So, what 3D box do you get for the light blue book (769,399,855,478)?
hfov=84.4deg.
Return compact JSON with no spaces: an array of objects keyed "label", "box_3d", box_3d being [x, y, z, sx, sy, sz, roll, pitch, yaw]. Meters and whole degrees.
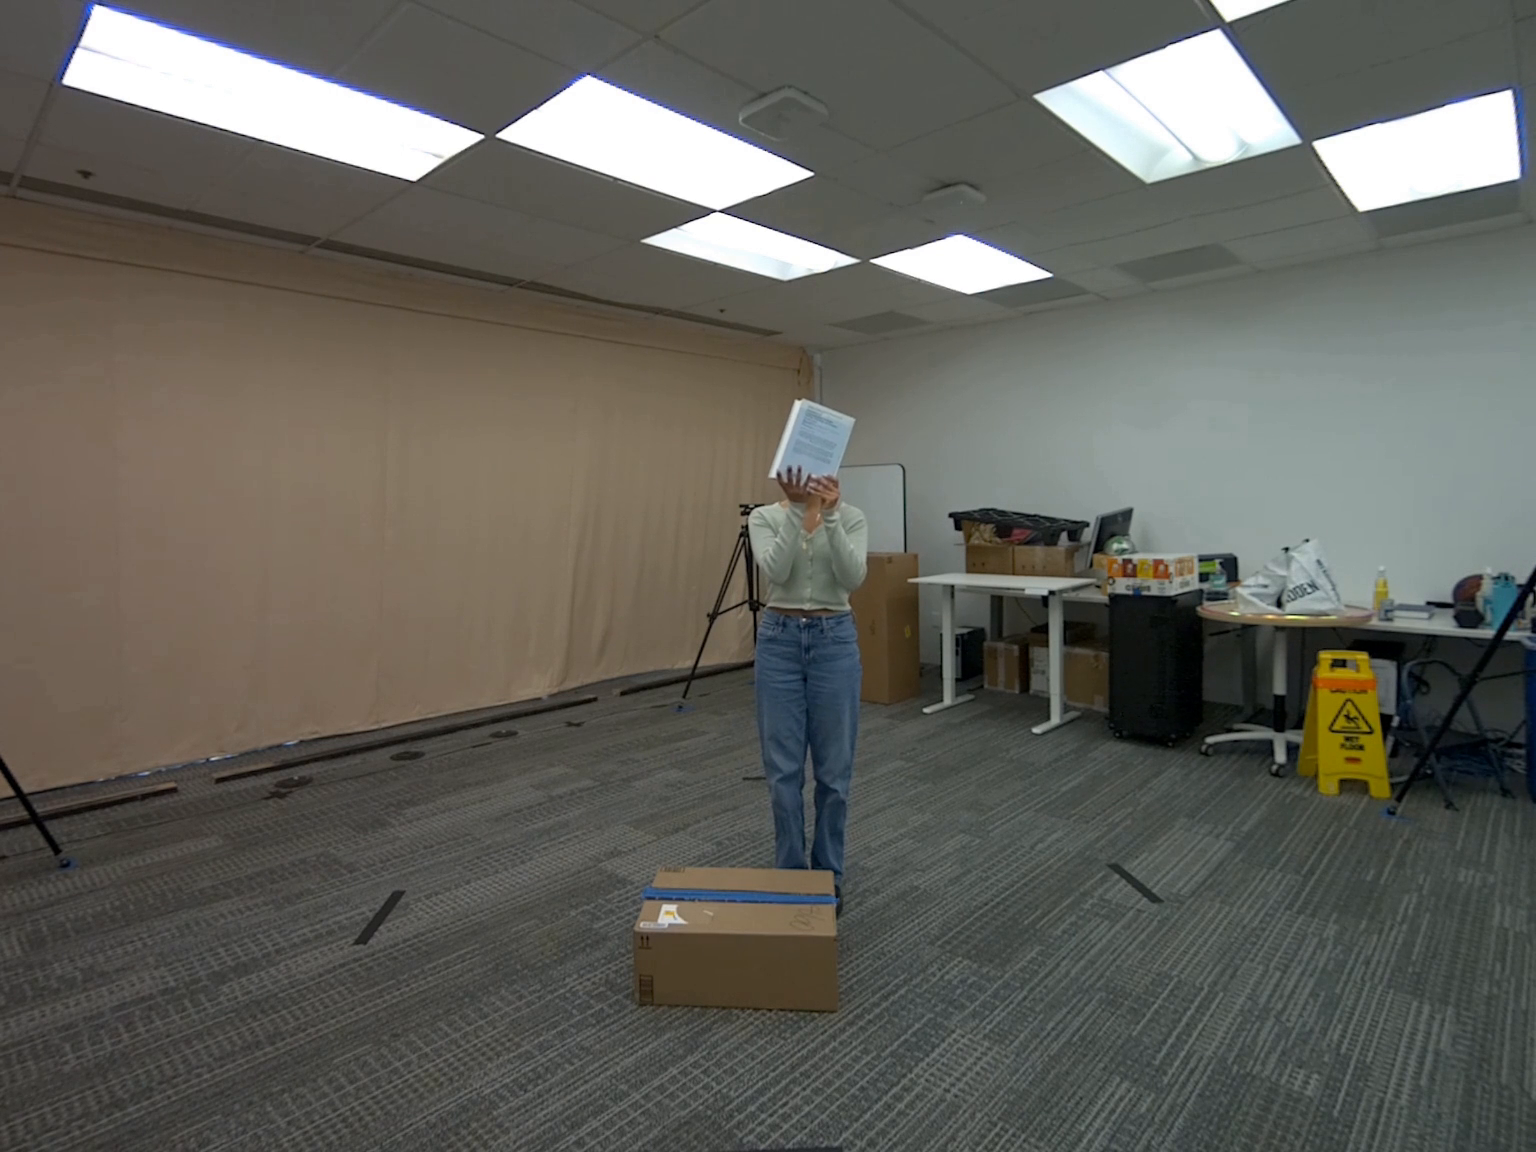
[{"label":"light blue book","box_3d":[0.136,-0.400,2.645,0.189,0.261,0.060,19,-1,-11]}]
